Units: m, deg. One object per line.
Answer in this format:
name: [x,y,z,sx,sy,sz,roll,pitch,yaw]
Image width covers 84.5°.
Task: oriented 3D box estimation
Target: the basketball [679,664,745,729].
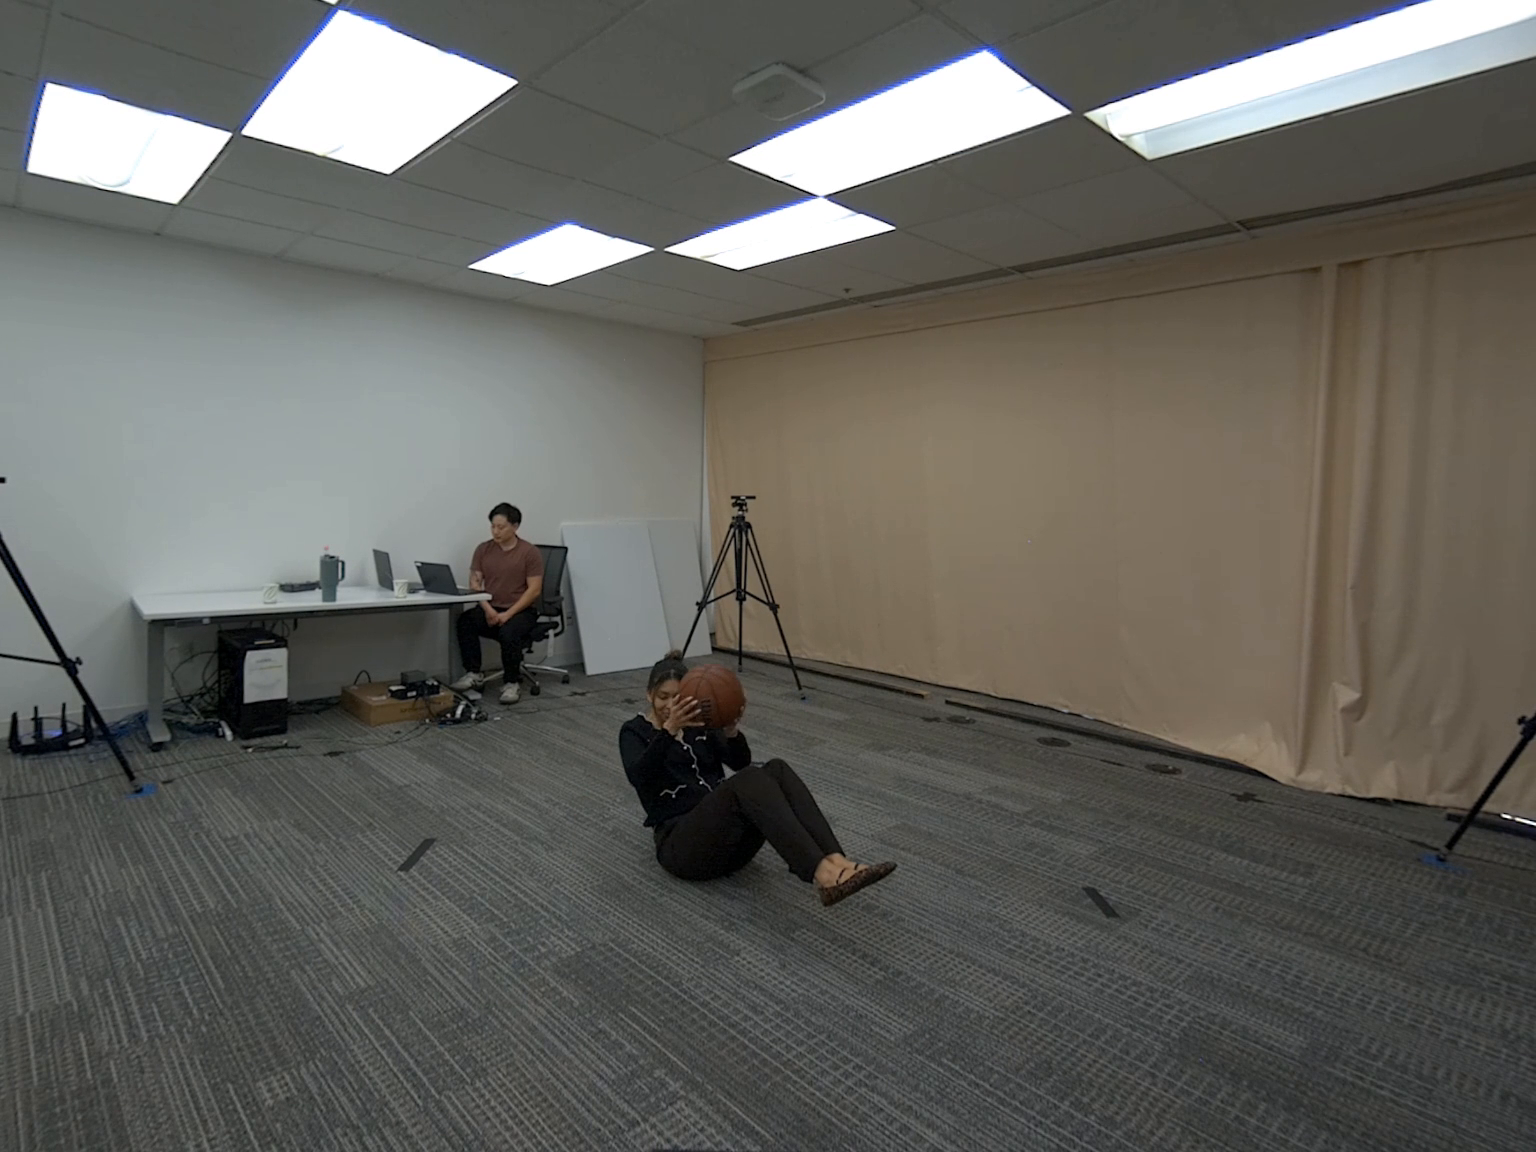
basketball: [-0.214,0.444,2.993,0.236,0.235,0.237,1,4,-1]
